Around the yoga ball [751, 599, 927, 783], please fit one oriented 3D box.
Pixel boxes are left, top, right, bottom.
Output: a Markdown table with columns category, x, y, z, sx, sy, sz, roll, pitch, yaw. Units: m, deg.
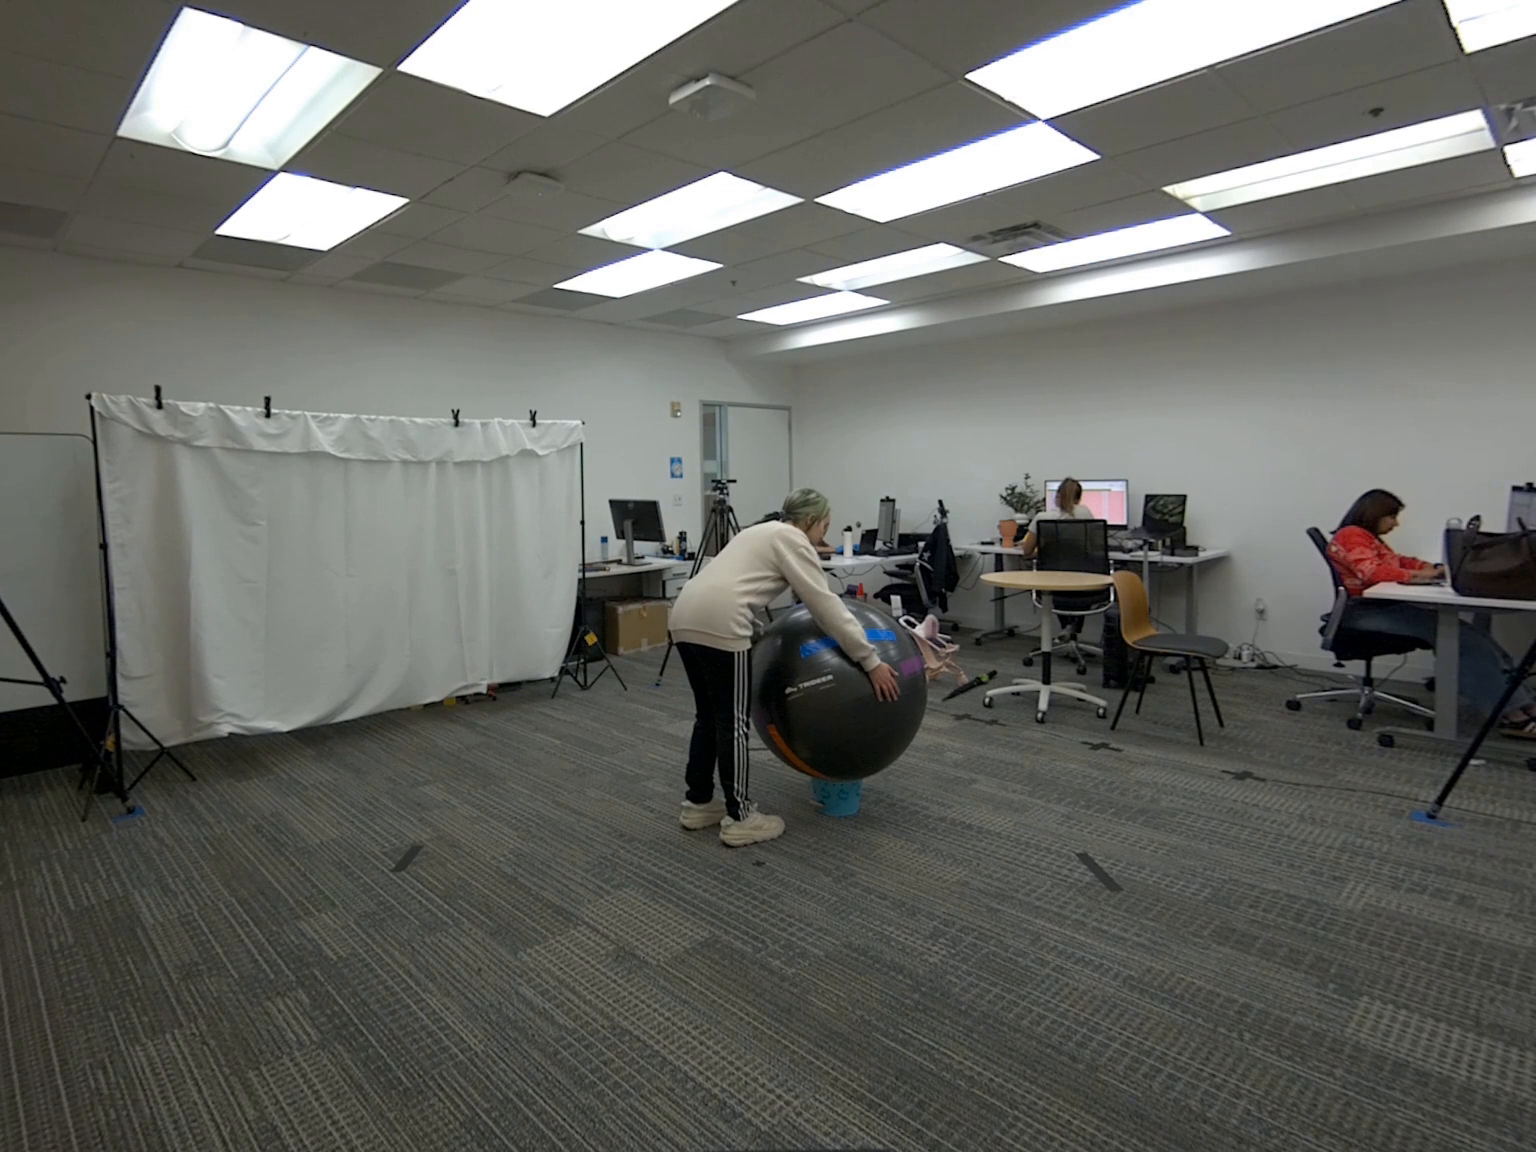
| category | x | y | z | sx | sy | sz | roll | pitch | yaw |
| --- | --- | --- | --- | --- | --- | --- | --- | --- | --- |
| yoga ball | 0.280 | 0.474 | 3.605 | 0.757 | 0.755 | 0.762 | -1 | 5 | -2 |
